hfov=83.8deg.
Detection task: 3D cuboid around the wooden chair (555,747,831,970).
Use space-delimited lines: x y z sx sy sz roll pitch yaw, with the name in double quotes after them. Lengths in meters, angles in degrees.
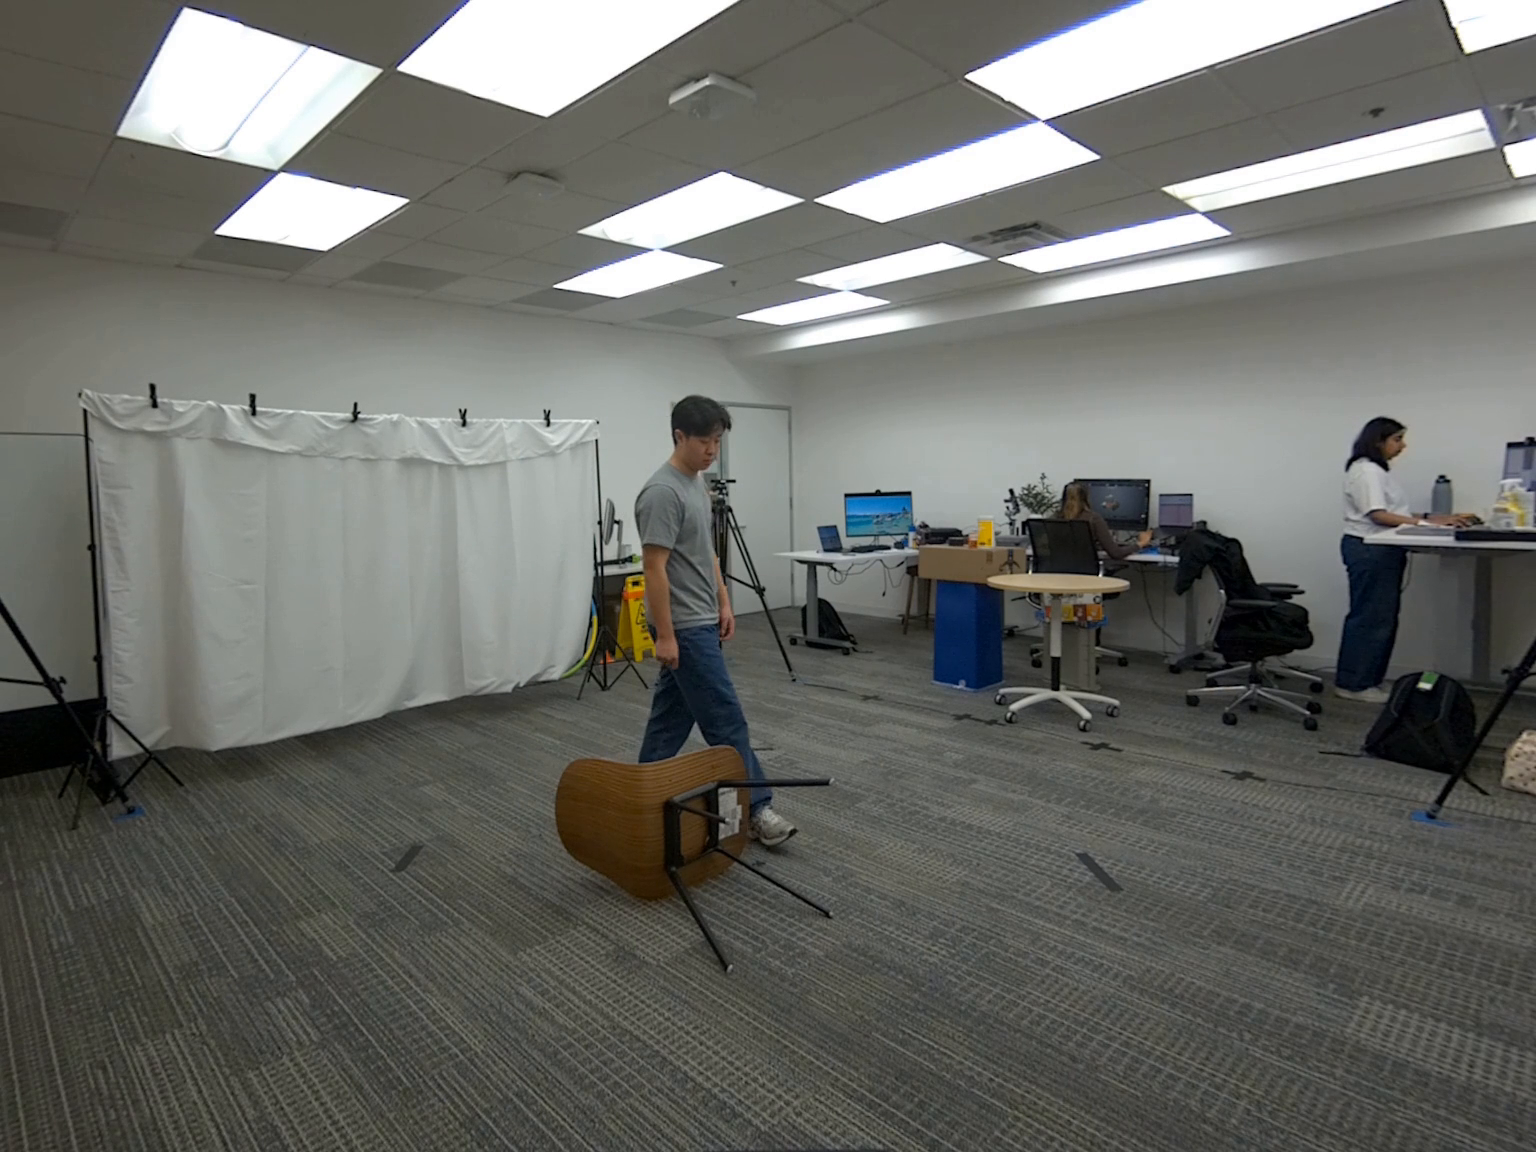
-0.246 0.845 2.876 0.904 0.476 0.510 5 8 42 "wooden chair"
